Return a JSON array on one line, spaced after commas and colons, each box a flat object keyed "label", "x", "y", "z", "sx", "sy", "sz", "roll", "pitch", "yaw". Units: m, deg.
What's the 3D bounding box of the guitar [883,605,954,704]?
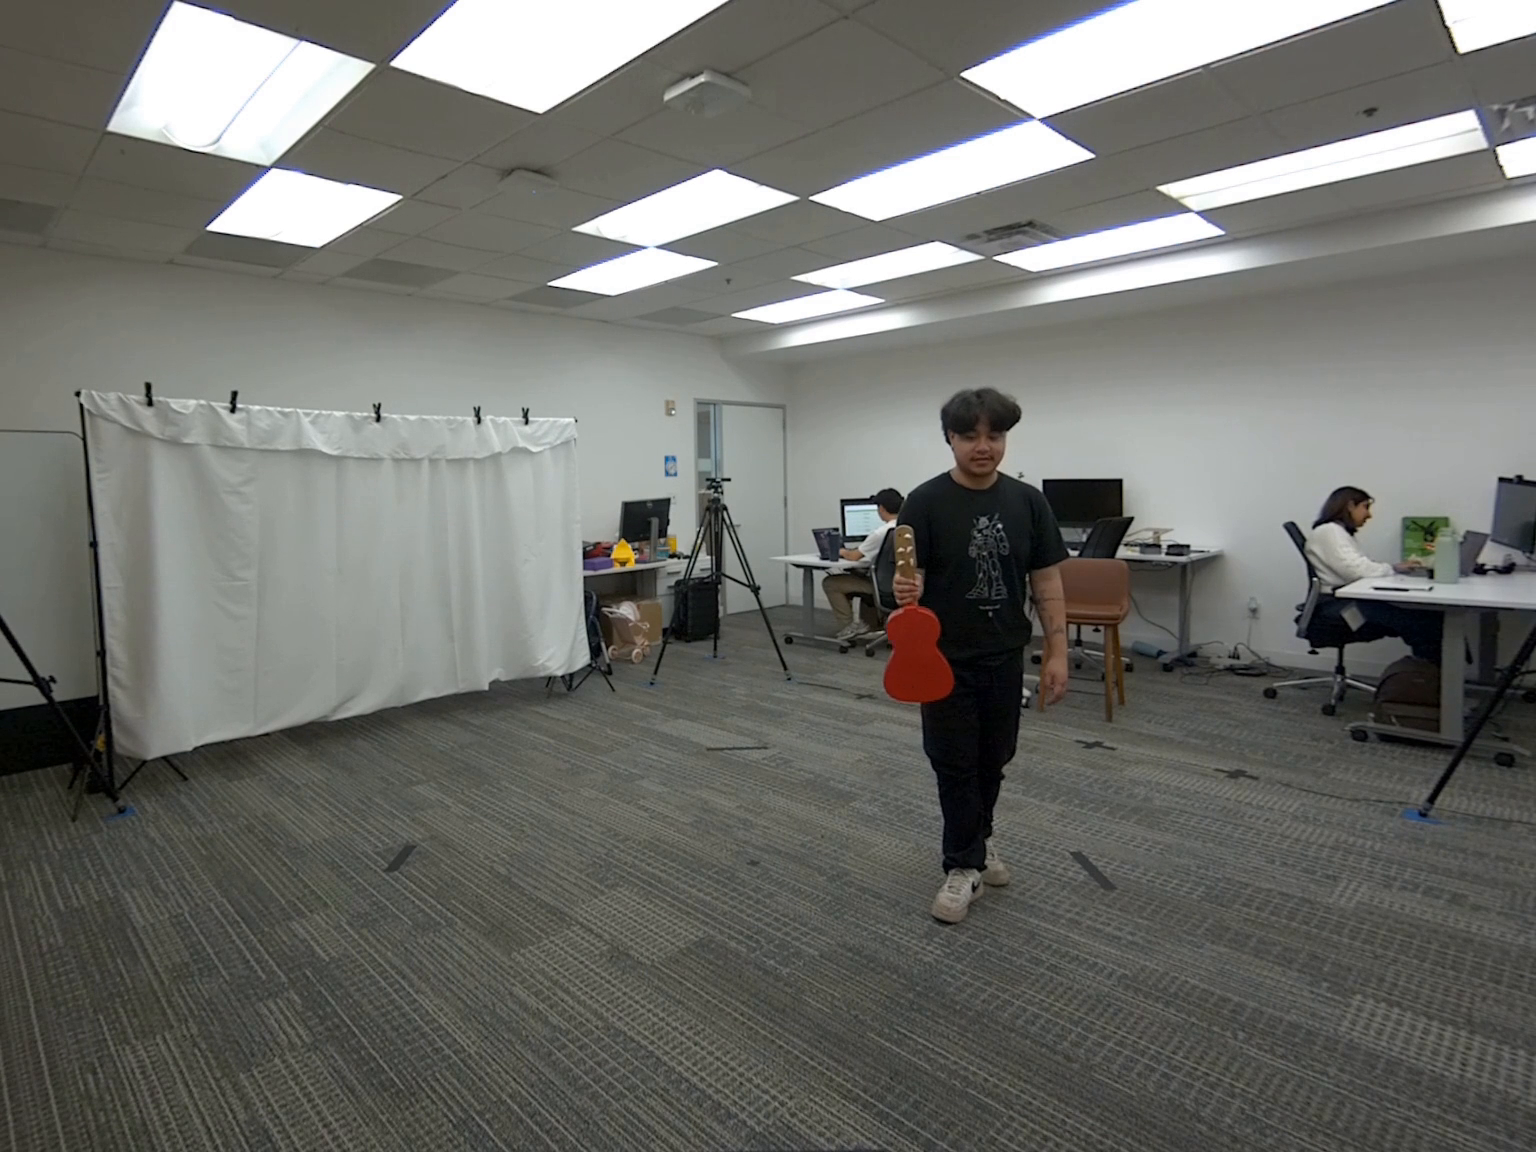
[{"label": "guitar", "x": 0.384, "y": 0.119, "z": 2.438, "sx": 0.195, "sy": 0.495, "sz": 0.070, "roll": -13, "pitch": 6, "yaw": 12}]
